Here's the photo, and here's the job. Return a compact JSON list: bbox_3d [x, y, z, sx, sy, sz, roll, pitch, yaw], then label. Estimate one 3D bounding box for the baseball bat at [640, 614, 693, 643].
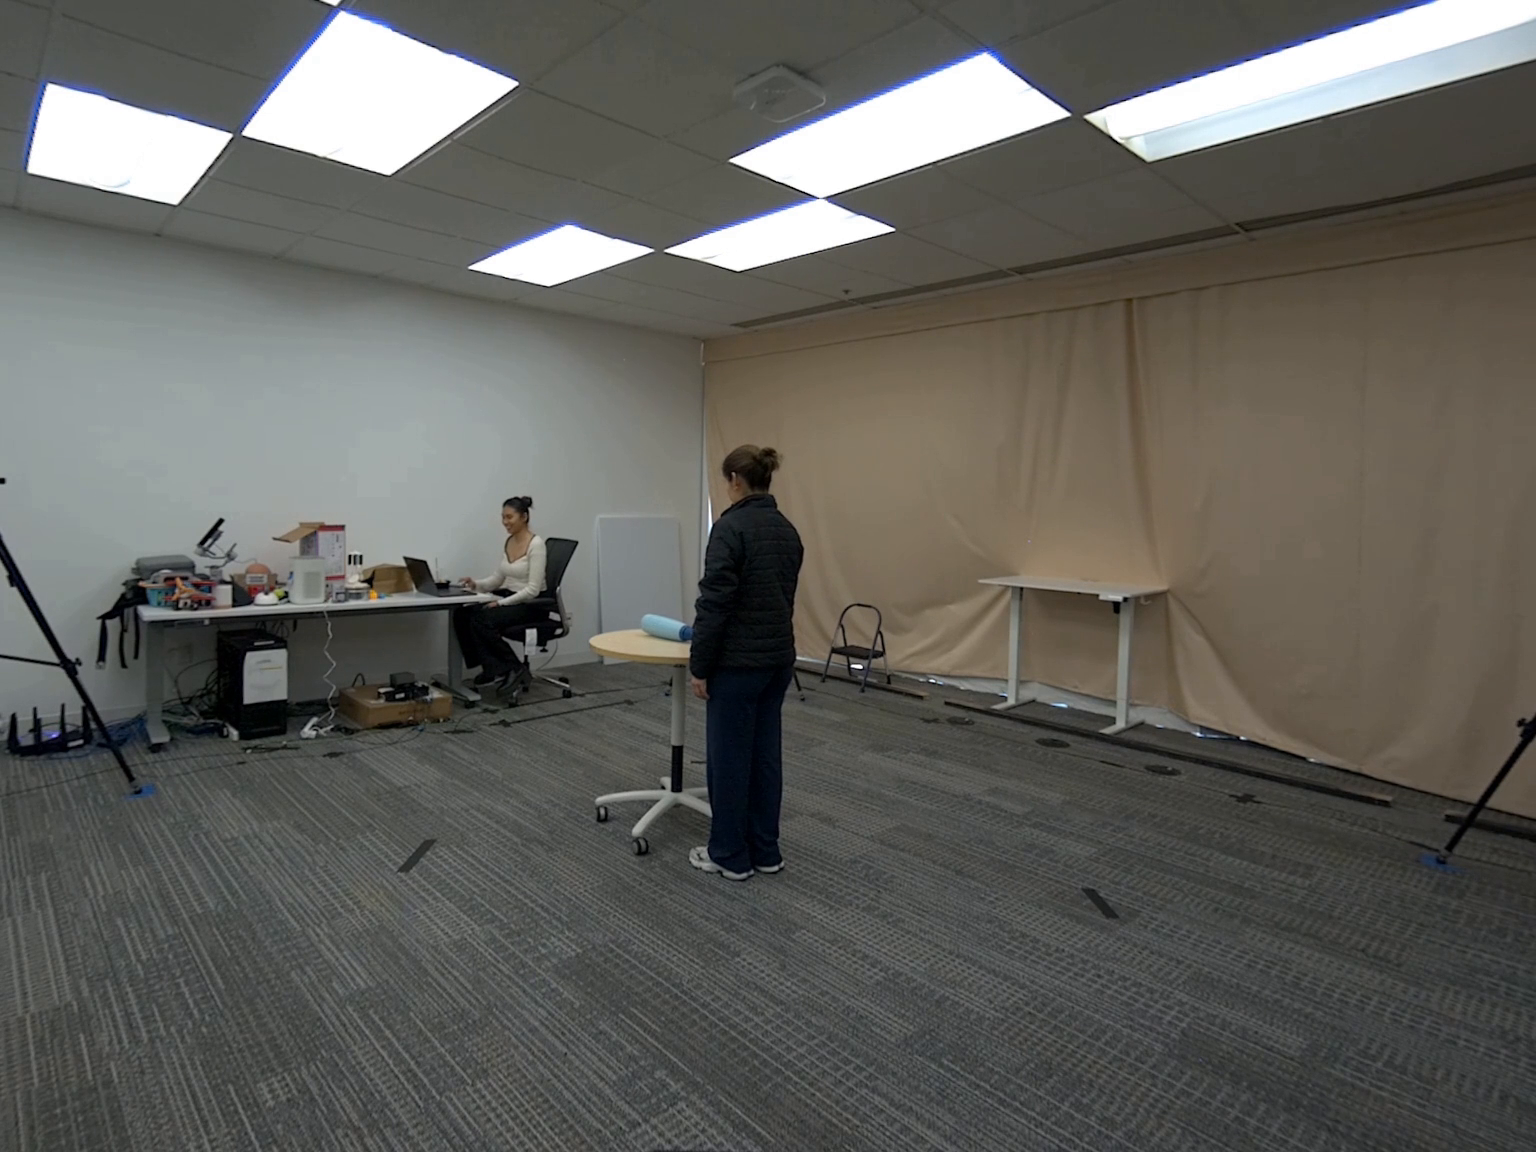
[{"bbox_3d":[-0.338,0.246,3.526,0.558,0.089,0.087,10,9,42],"label":"baseball bat"}]
